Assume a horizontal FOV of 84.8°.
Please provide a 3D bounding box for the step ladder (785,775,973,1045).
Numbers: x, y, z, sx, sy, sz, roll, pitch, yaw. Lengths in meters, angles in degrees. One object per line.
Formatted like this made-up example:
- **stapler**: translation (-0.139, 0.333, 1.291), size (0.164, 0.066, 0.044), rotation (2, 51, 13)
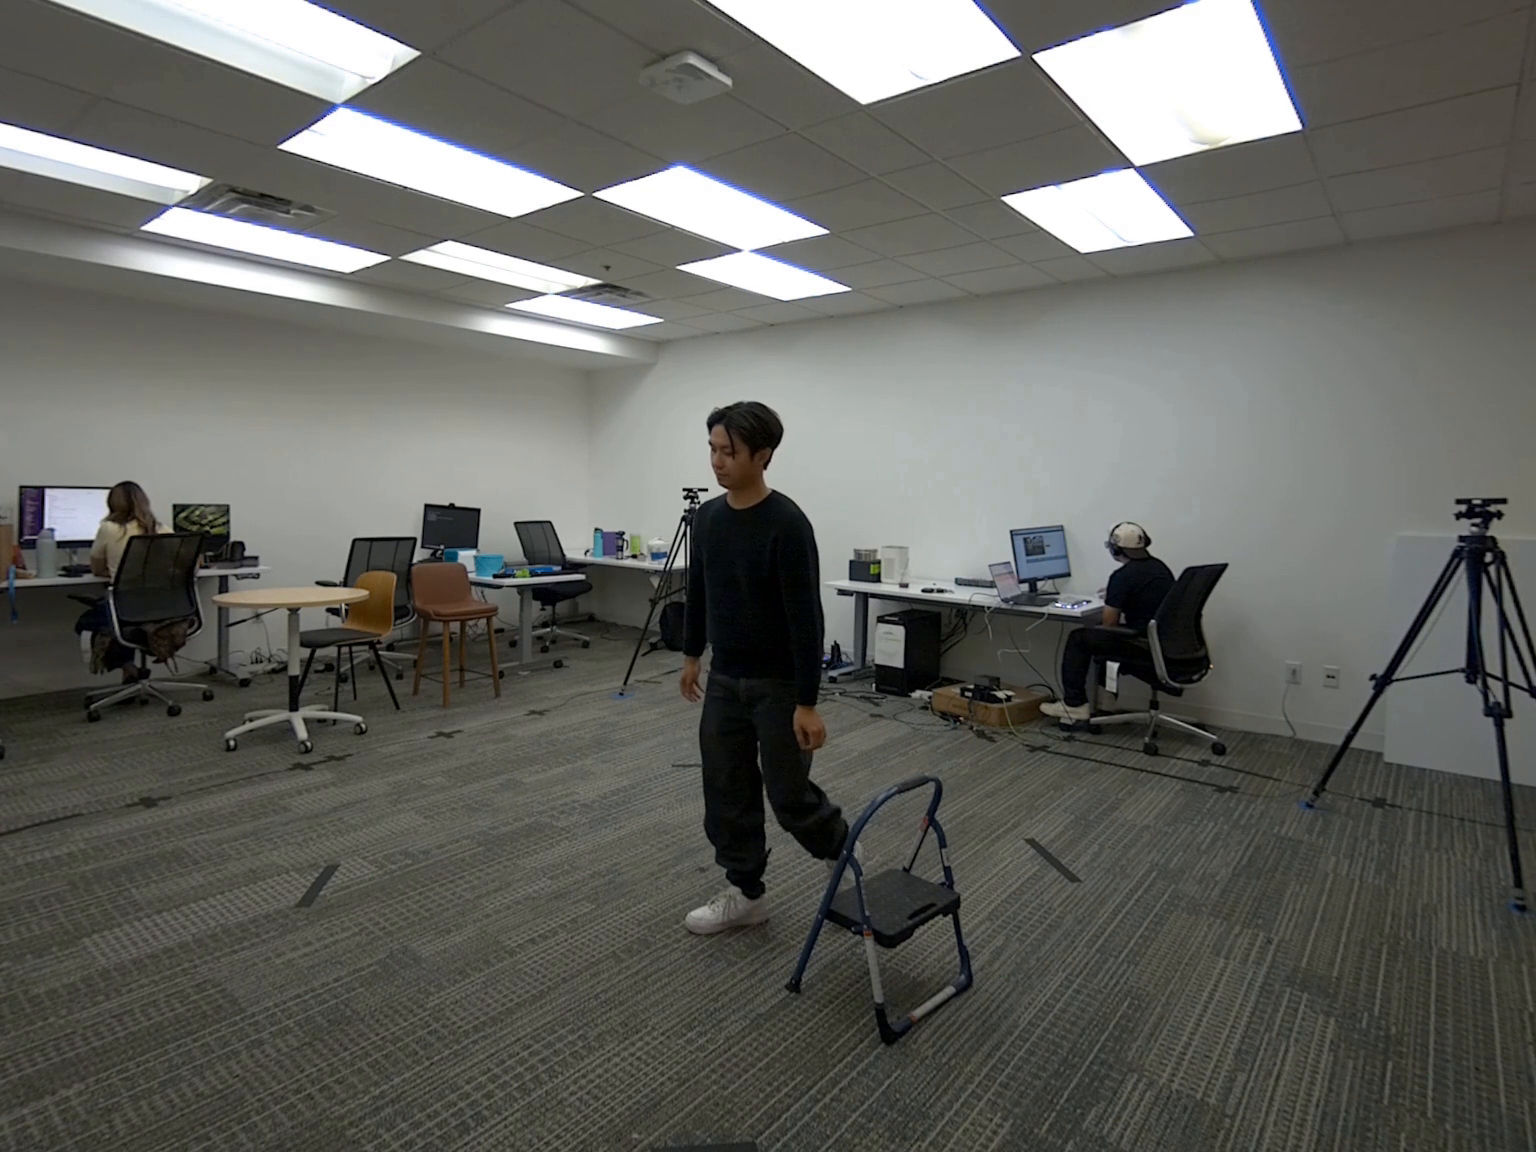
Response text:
- **step ladder**: translation (0.319, 0.851, 2.383), size (0.361, 0.604, 0.417), rotation (4, 5, 44)
